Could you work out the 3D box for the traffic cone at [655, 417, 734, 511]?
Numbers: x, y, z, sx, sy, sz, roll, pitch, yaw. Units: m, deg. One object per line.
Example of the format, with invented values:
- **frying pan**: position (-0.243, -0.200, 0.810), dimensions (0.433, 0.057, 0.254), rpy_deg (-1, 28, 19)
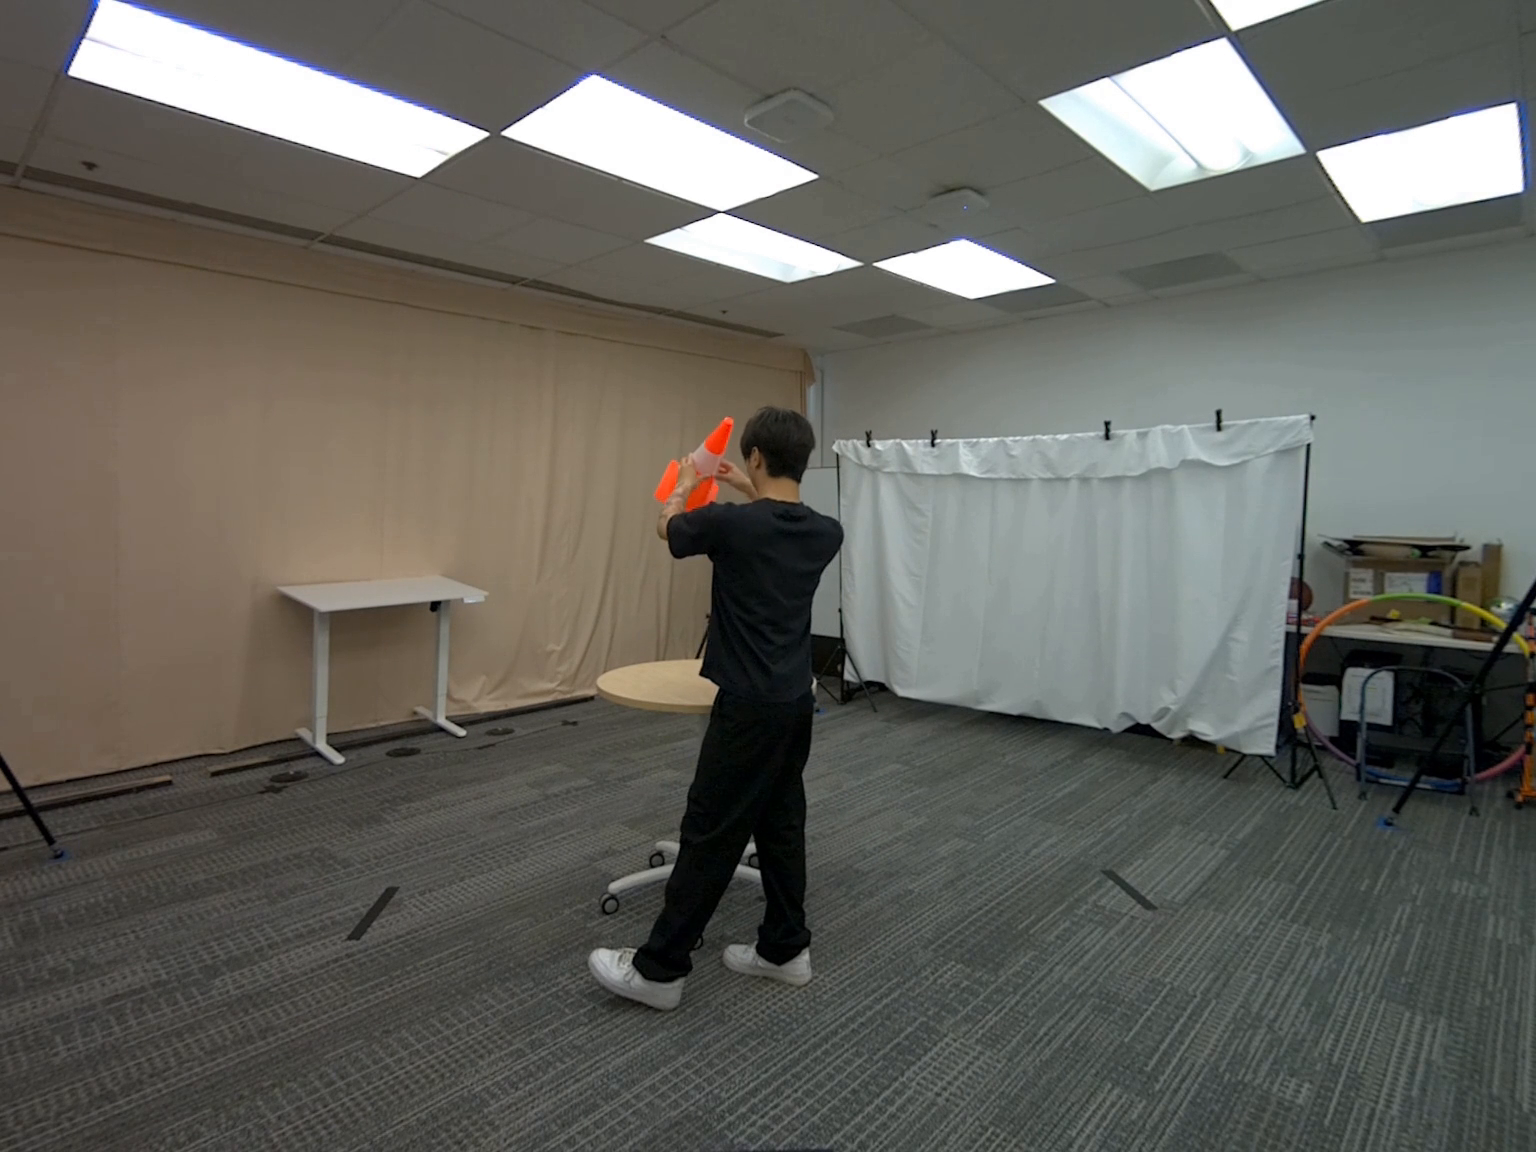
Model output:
- **traffic cone**: position (-0.207, -0.380, 2.829), dimensions (0.204, 0.204, 0.384), rpy_deg (29, -42, -6)
